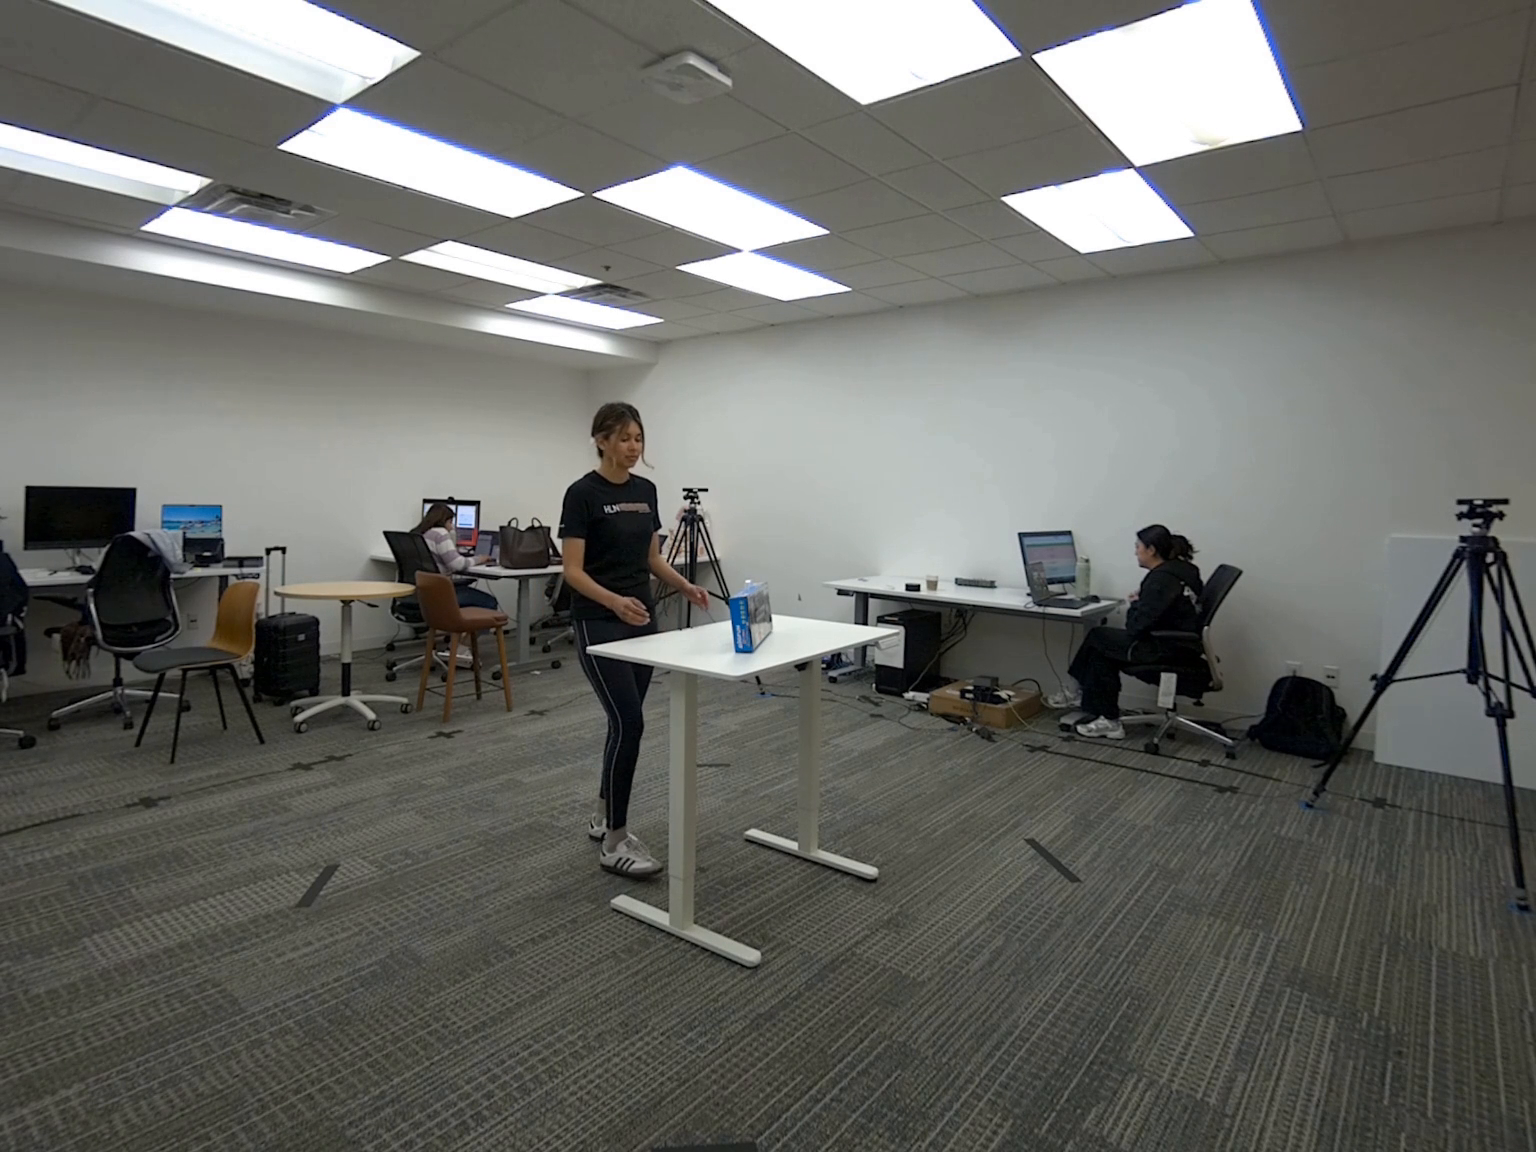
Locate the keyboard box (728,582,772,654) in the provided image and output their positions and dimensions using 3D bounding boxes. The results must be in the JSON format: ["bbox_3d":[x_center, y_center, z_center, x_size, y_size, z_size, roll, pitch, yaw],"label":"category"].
[{"bbox_3d":[-0.062,0.128,2.840,0.060,0.175,0.434,-6,5,9],"label":"keyboard box"}]
